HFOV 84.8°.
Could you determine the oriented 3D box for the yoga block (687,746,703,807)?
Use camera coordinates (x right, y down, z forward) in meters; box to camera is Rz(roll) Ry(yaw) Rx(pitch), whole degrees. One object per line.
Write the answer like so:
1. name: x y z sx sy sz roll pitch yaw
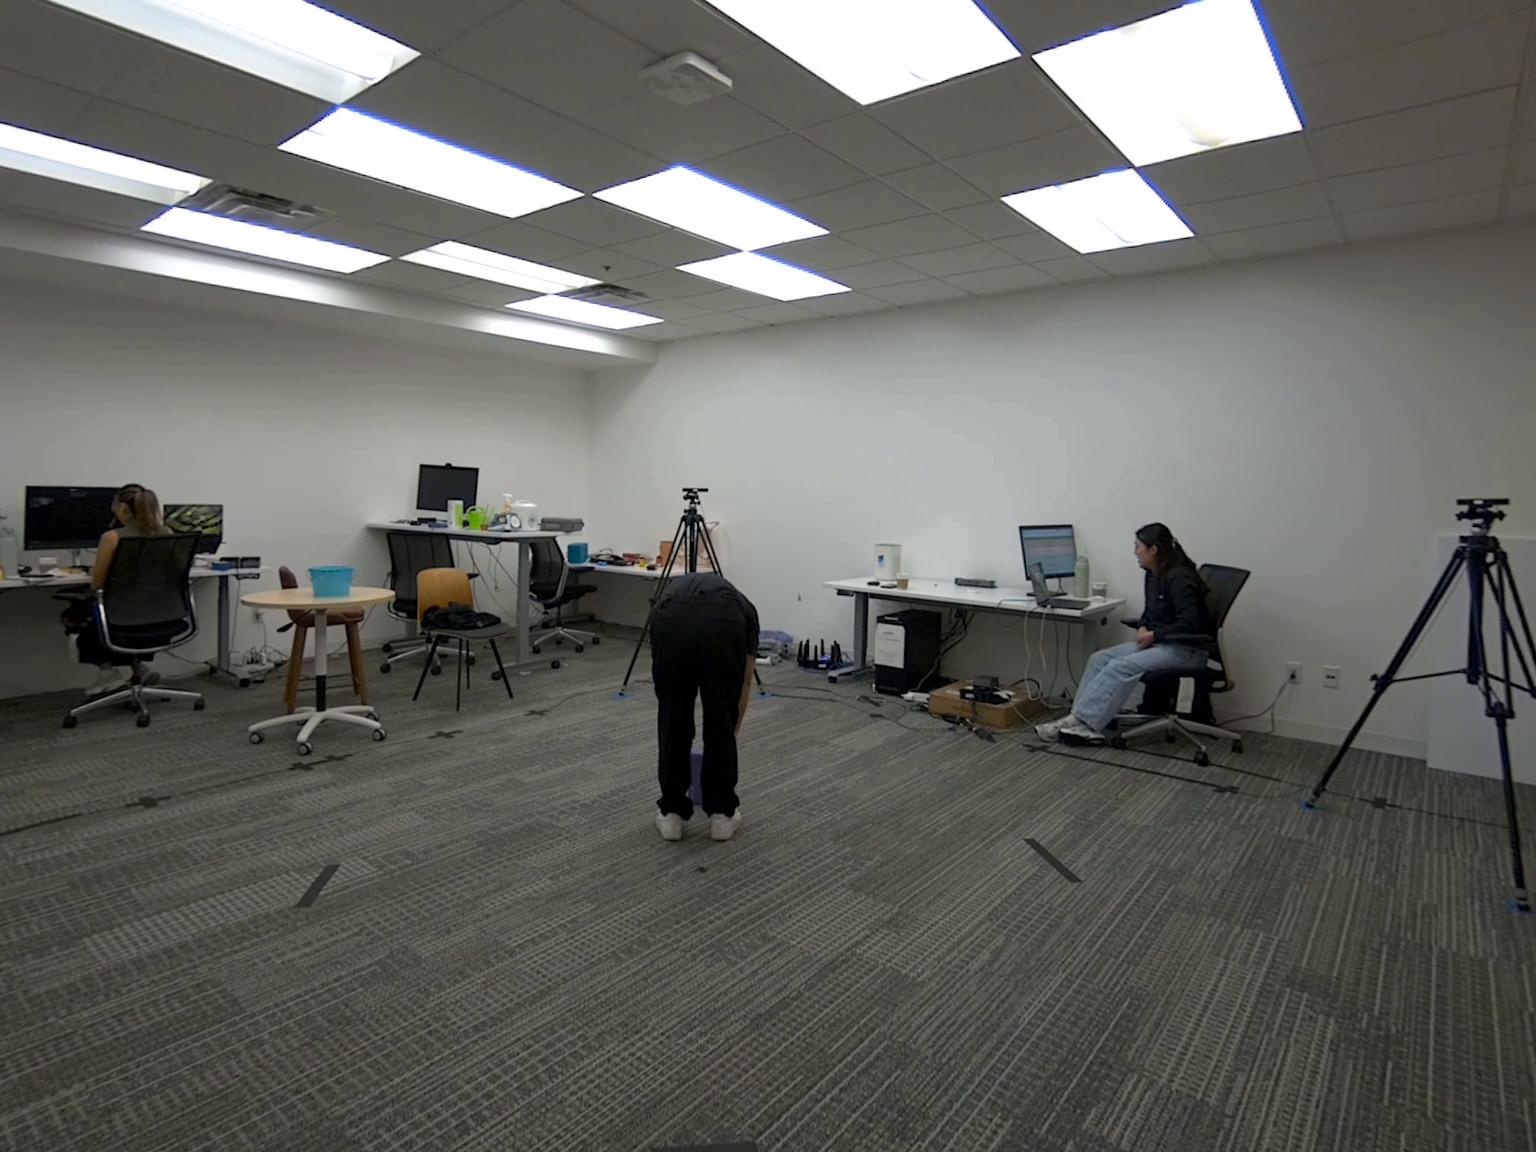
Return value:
1. yoga block: -0.286 0.884 3.761 0.150 0.229 0.076 2 2 4
